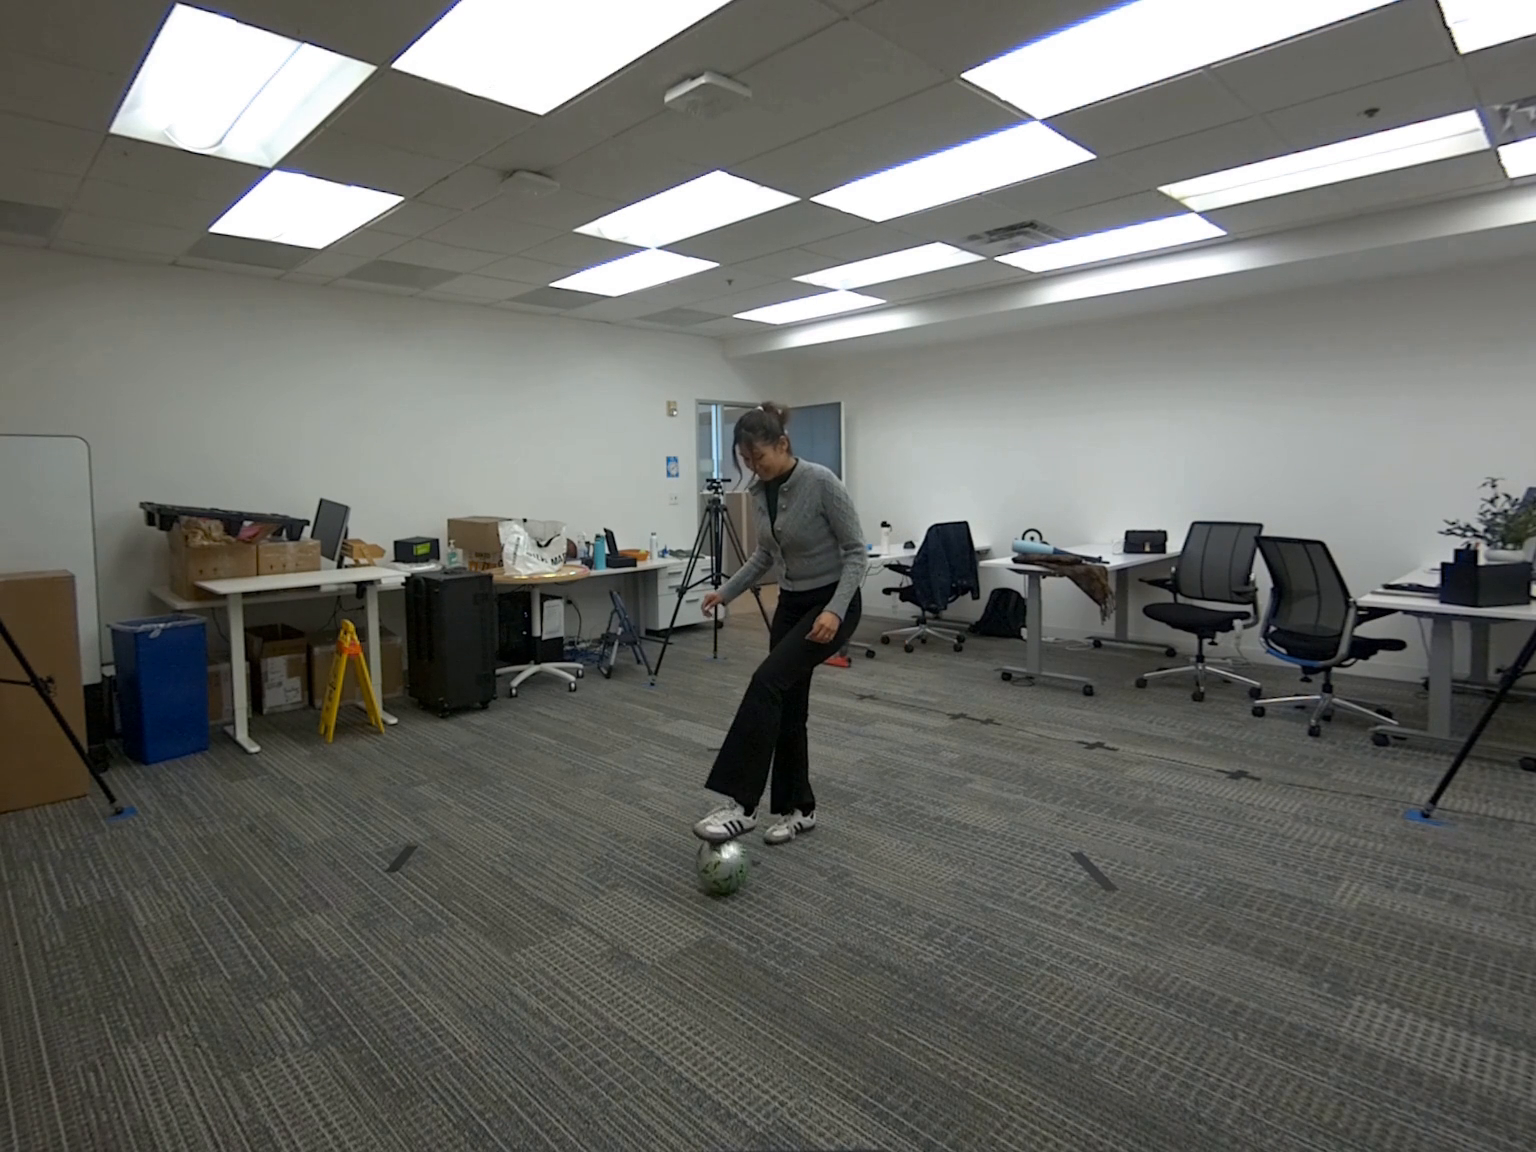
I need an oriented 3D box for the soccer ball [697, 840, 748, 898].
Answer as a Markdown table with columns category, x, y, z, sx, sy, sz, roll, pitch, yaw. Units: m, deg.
| category | x | y | z | sx | sy | sz | roll | pitch | yaw |
| --- | --- | --- | --- | --- | --- | --- | --- | --- | --- |
| soccer ball | -0.117 | 0.975 | 2.918 | 0.187 | 0.187 | 0.188 | -1 | 5 | -2 |
